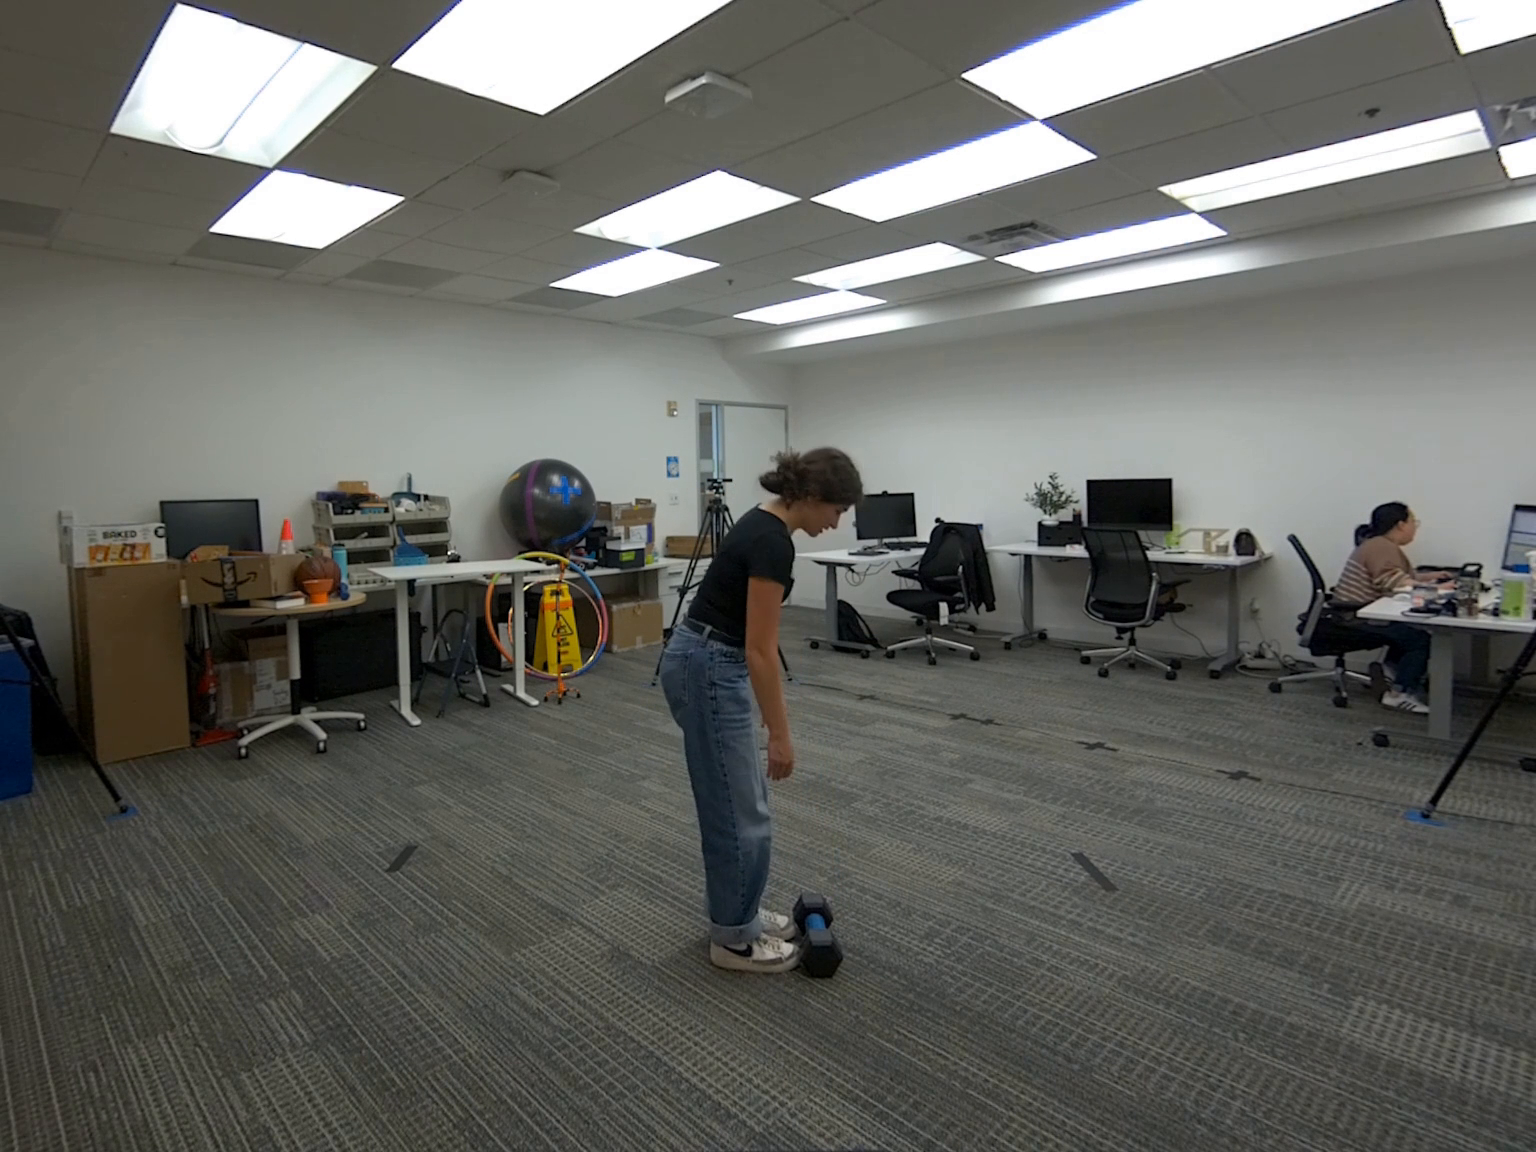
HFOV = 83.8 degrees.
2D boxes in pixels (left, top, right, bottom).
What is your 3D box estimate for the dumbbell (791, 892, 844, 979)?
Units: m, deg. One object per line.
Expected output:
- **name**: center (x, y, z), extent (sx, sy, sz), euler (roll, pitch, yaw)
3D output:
- **dumbbell**: center (0.144, 1.049, 2.522), extent (0.109, 0.122, 0.295), euler (-30, 7, 1)
